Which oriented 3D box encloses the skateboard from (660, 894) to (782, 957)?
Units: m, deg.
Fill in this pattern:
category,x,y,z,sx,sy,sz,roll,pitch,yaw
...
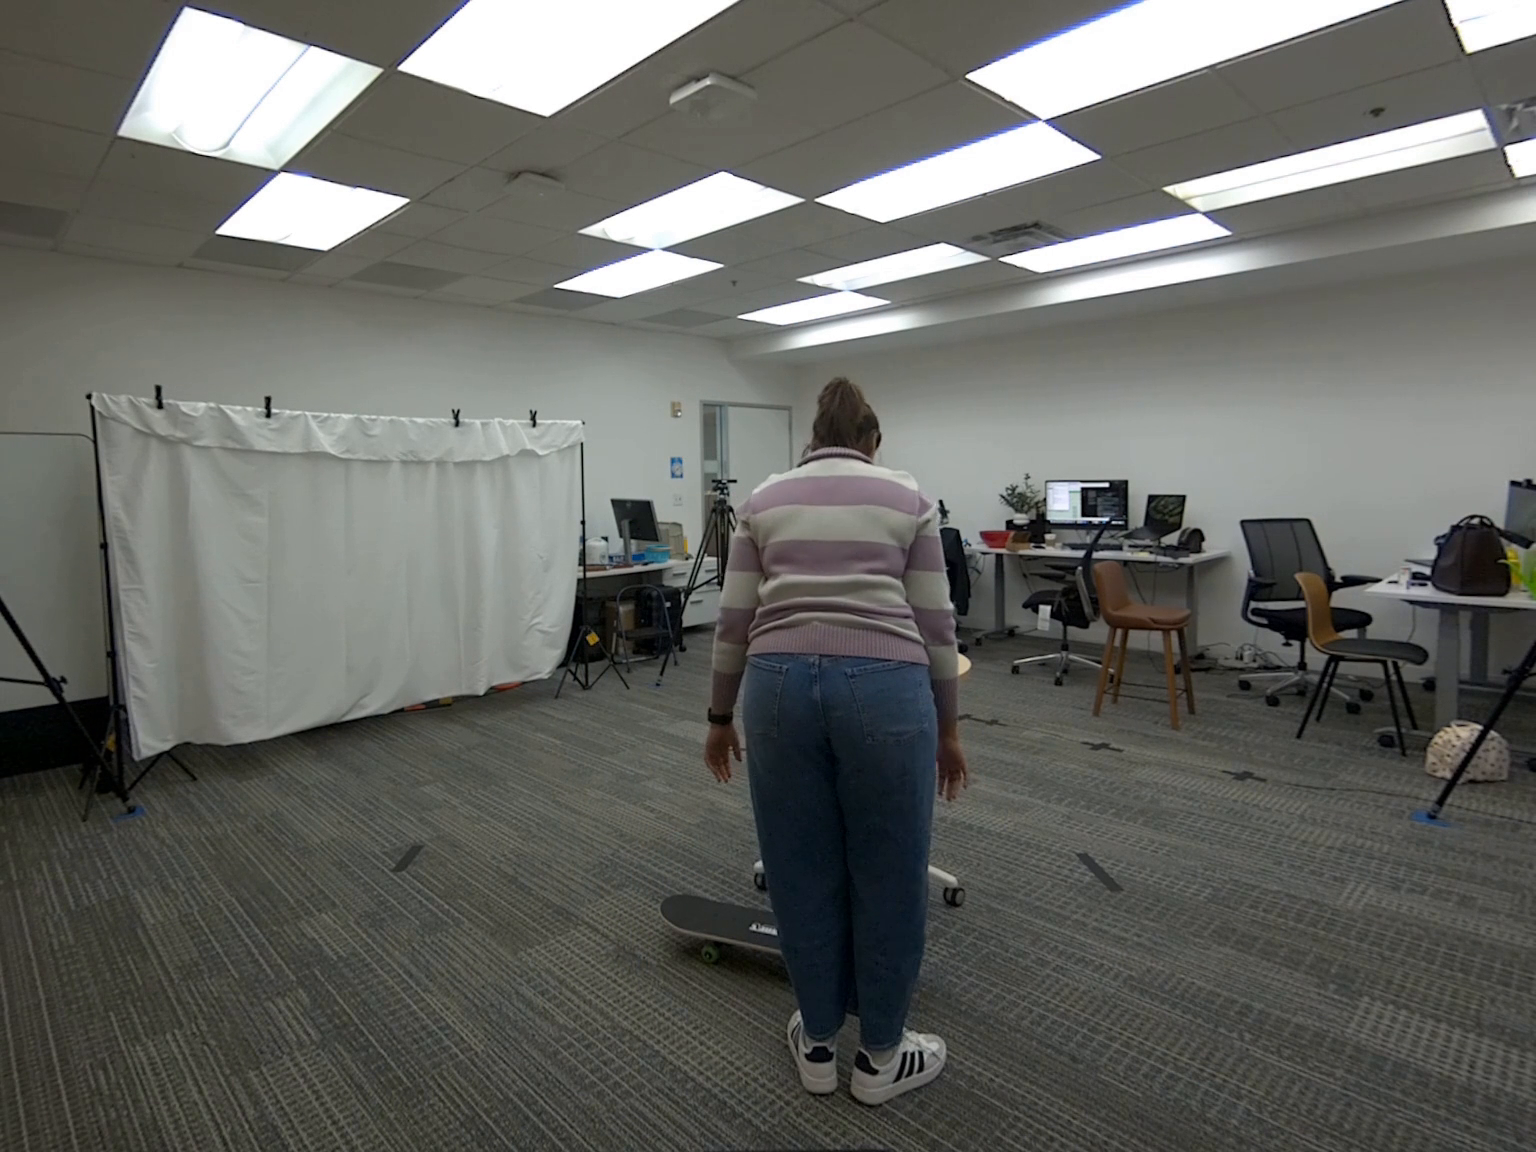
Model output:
category,x,y,z,sx,sy,sz,roll,pitch,yaw
skateboard,0.049,1.063,2.467,0.803,0.110,0.190,2,5,24
